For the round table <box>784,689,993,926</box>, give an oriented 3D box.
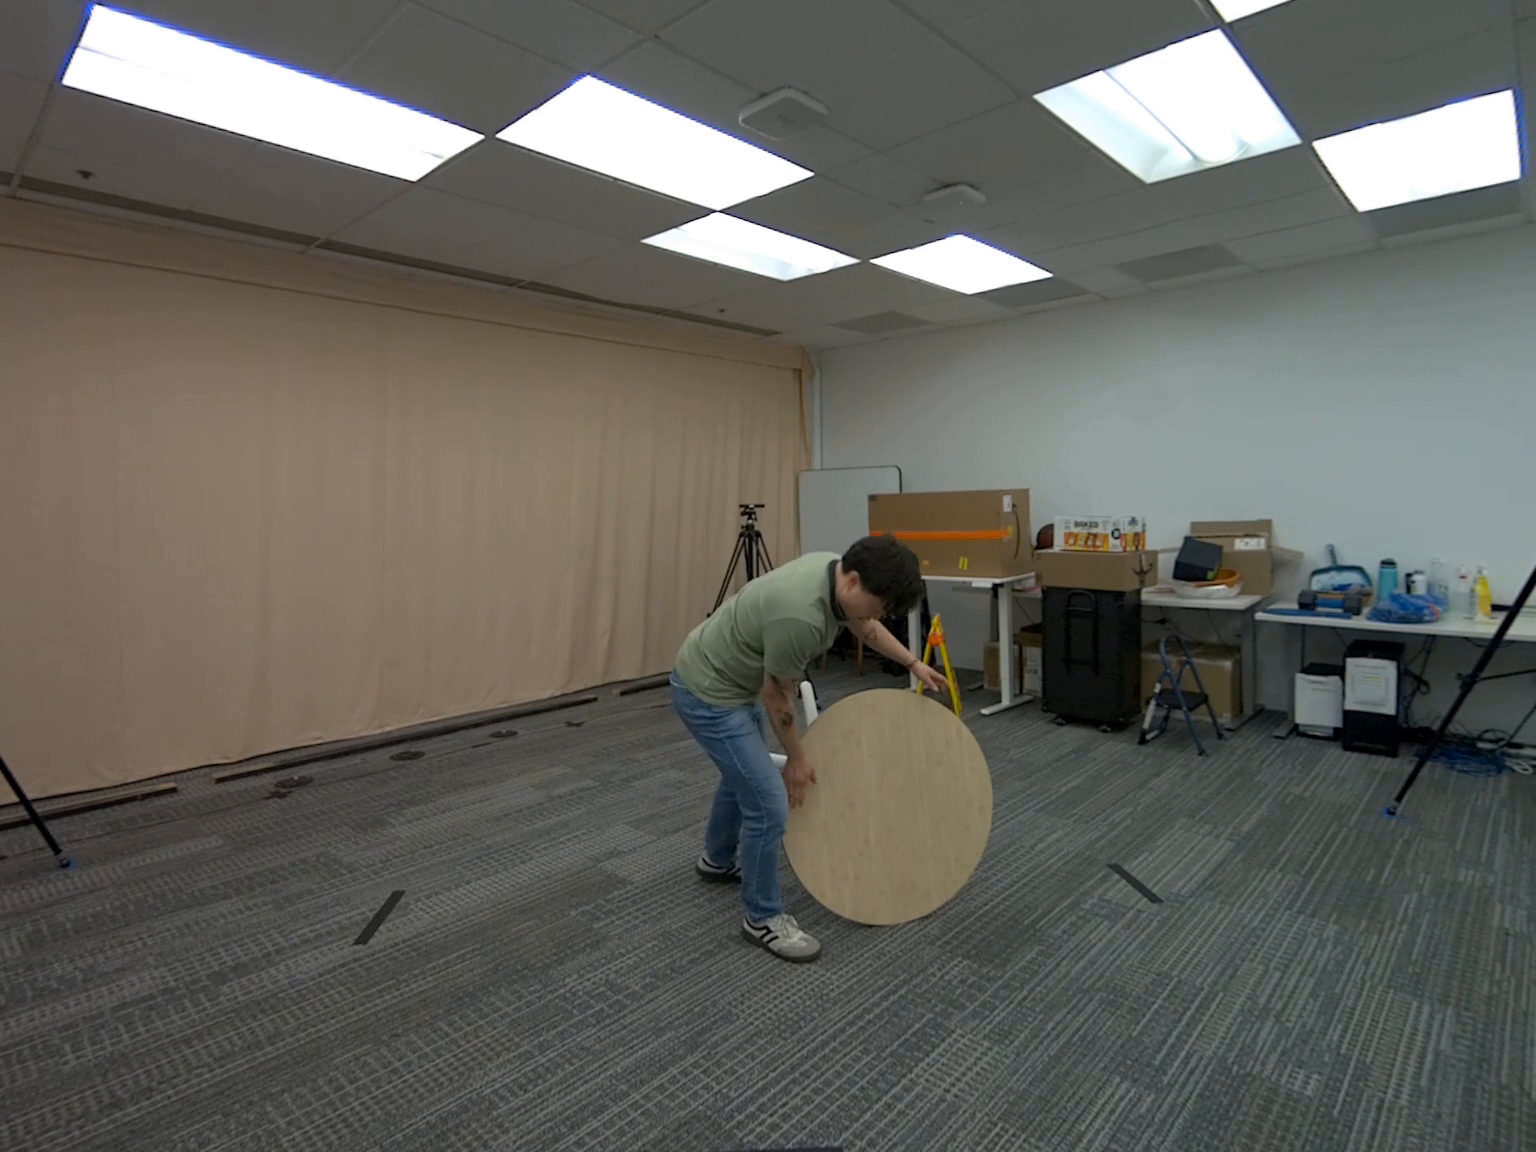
[{"bbox_3d":[0.300,0.778,3.183,0.752,0.765,0.805,-2,-2,-16],"label":"round table"}]
